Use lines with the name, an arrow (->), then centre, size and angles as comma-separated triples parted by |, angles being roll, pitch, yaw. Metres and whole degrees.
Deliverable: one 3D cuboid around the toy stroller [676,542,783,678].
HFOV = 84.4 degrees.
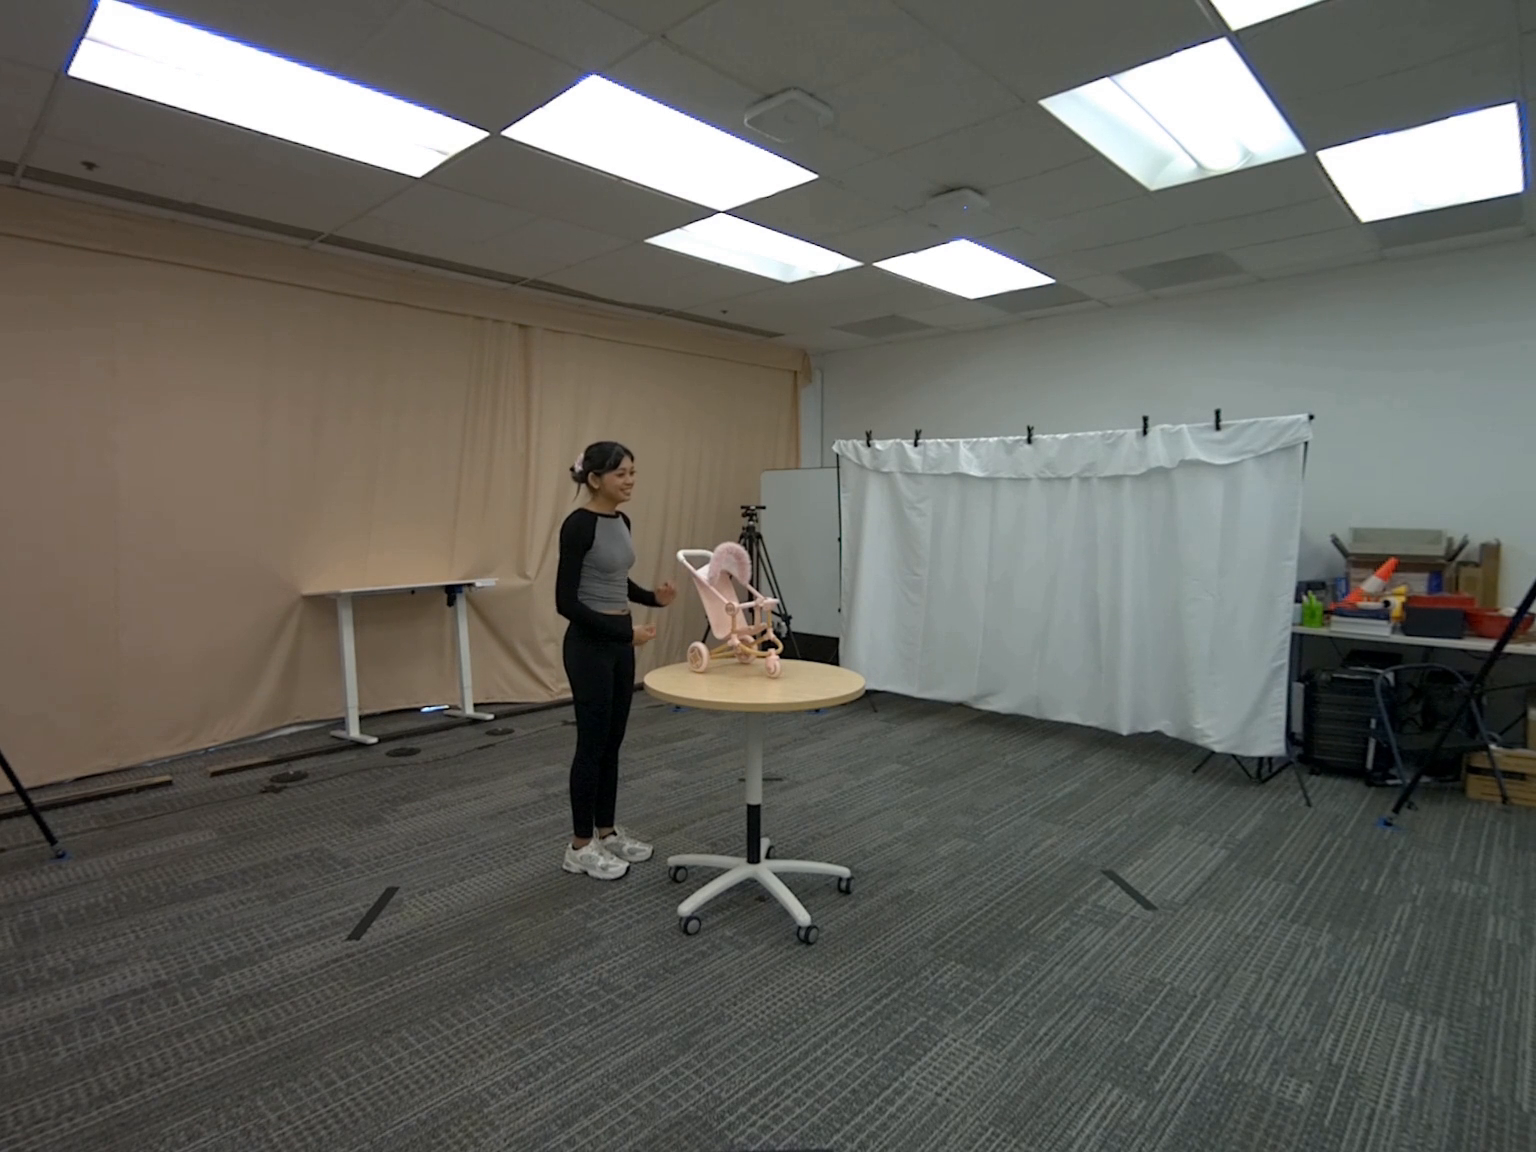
toy stroller -> -0.118, 0.121, 3.046 | 0.273, 0.539, 0.349 | -3, -12, -43
